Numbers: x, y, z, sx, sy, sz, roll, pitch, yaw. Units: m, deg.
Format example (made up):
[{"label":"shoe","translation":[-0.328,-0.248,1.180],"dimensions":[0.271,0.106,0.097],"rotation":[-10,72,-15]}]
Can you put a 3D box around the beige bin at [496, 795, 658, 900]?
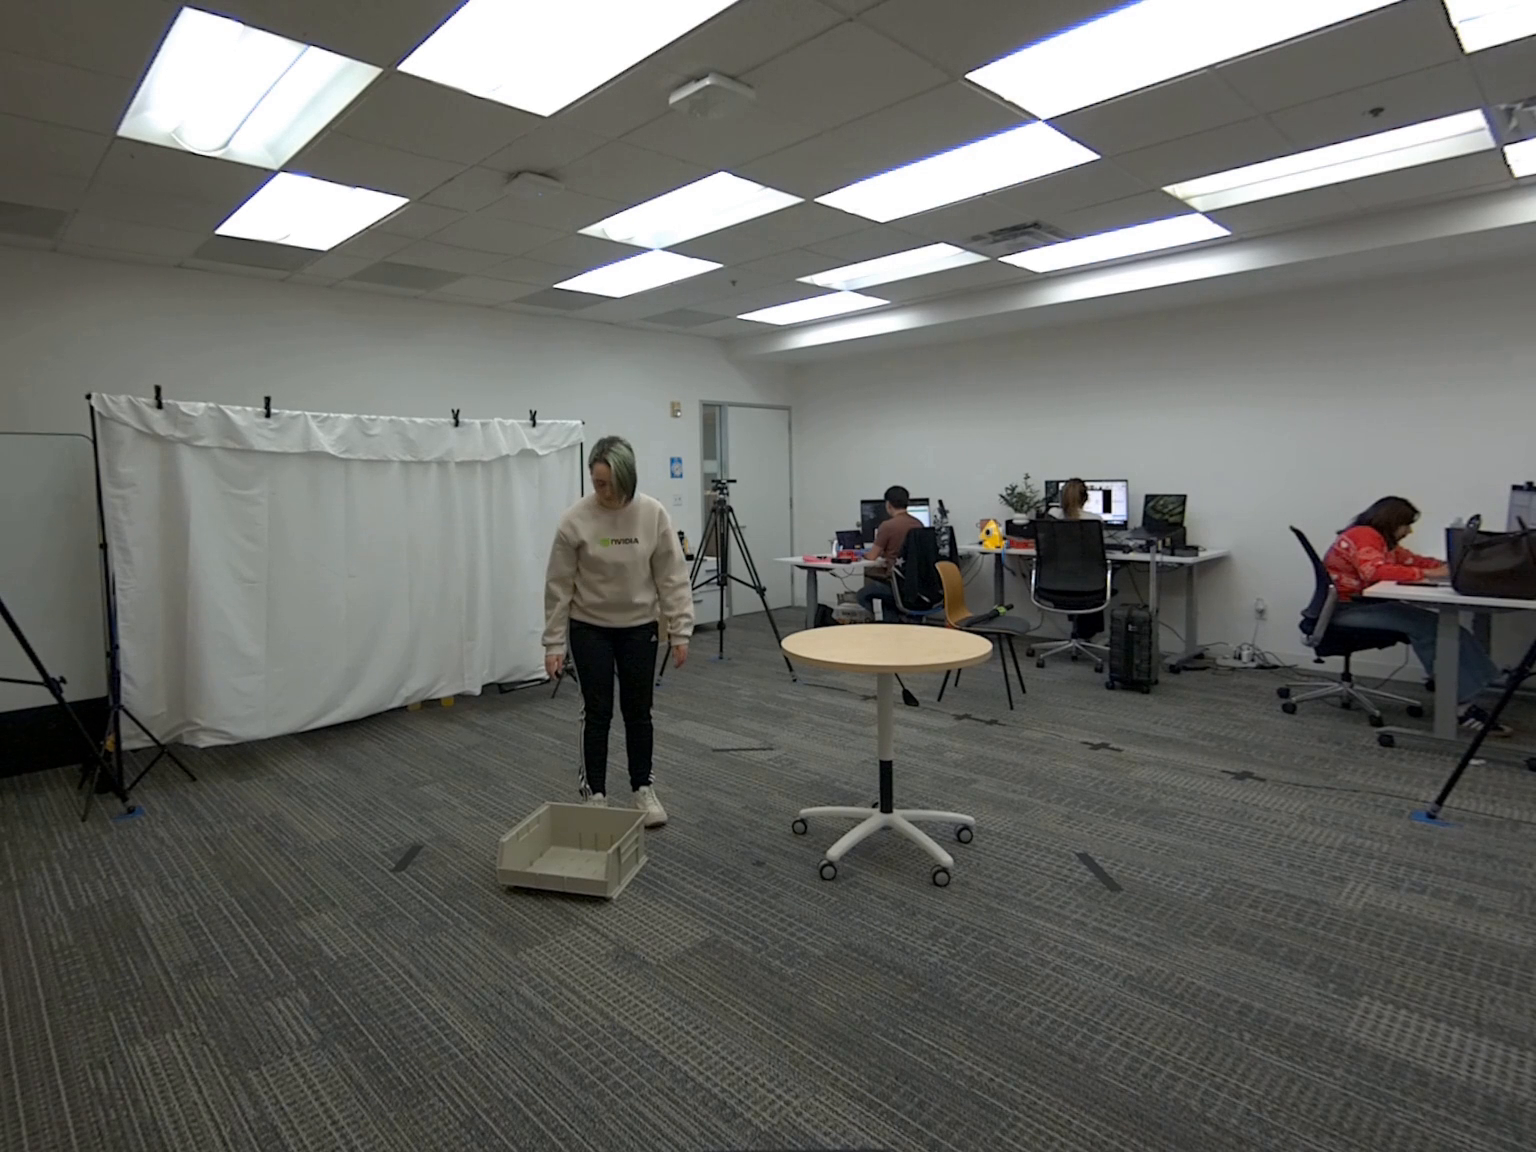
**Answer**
[{"label":"beige bin","translation":[-0.690,0.984,3.041],"dimensions":[0.429,0.188,0.373],"rotation":[-1,6,15]}]
